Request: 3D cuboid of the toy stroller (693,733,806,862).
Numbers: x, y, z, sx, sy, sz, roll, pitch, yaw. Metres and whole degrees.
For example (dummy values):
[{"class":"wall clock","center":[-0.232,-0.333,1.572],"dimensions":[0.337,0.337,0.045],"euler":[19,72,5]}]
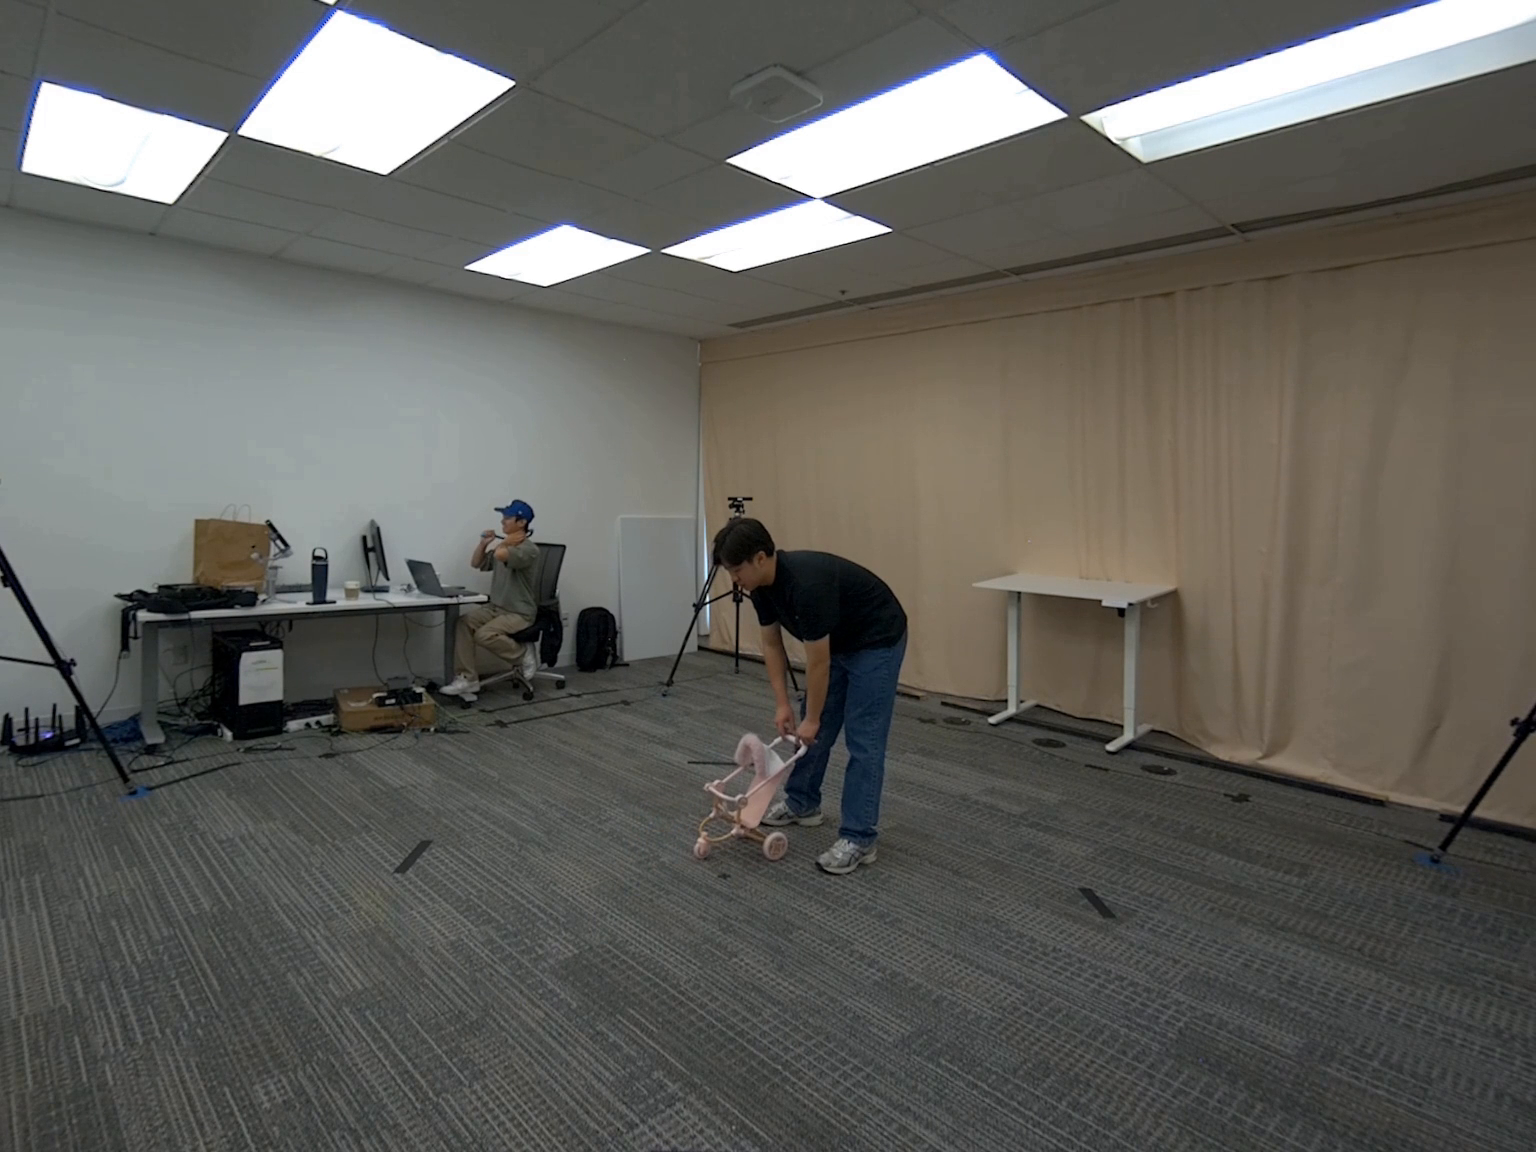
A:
[{"class":"toy stroller","center":[-0.092,0.865,3.323],"dimensions":[0.334,0.536,0.287],"euler":[17,-4,-24]}]
